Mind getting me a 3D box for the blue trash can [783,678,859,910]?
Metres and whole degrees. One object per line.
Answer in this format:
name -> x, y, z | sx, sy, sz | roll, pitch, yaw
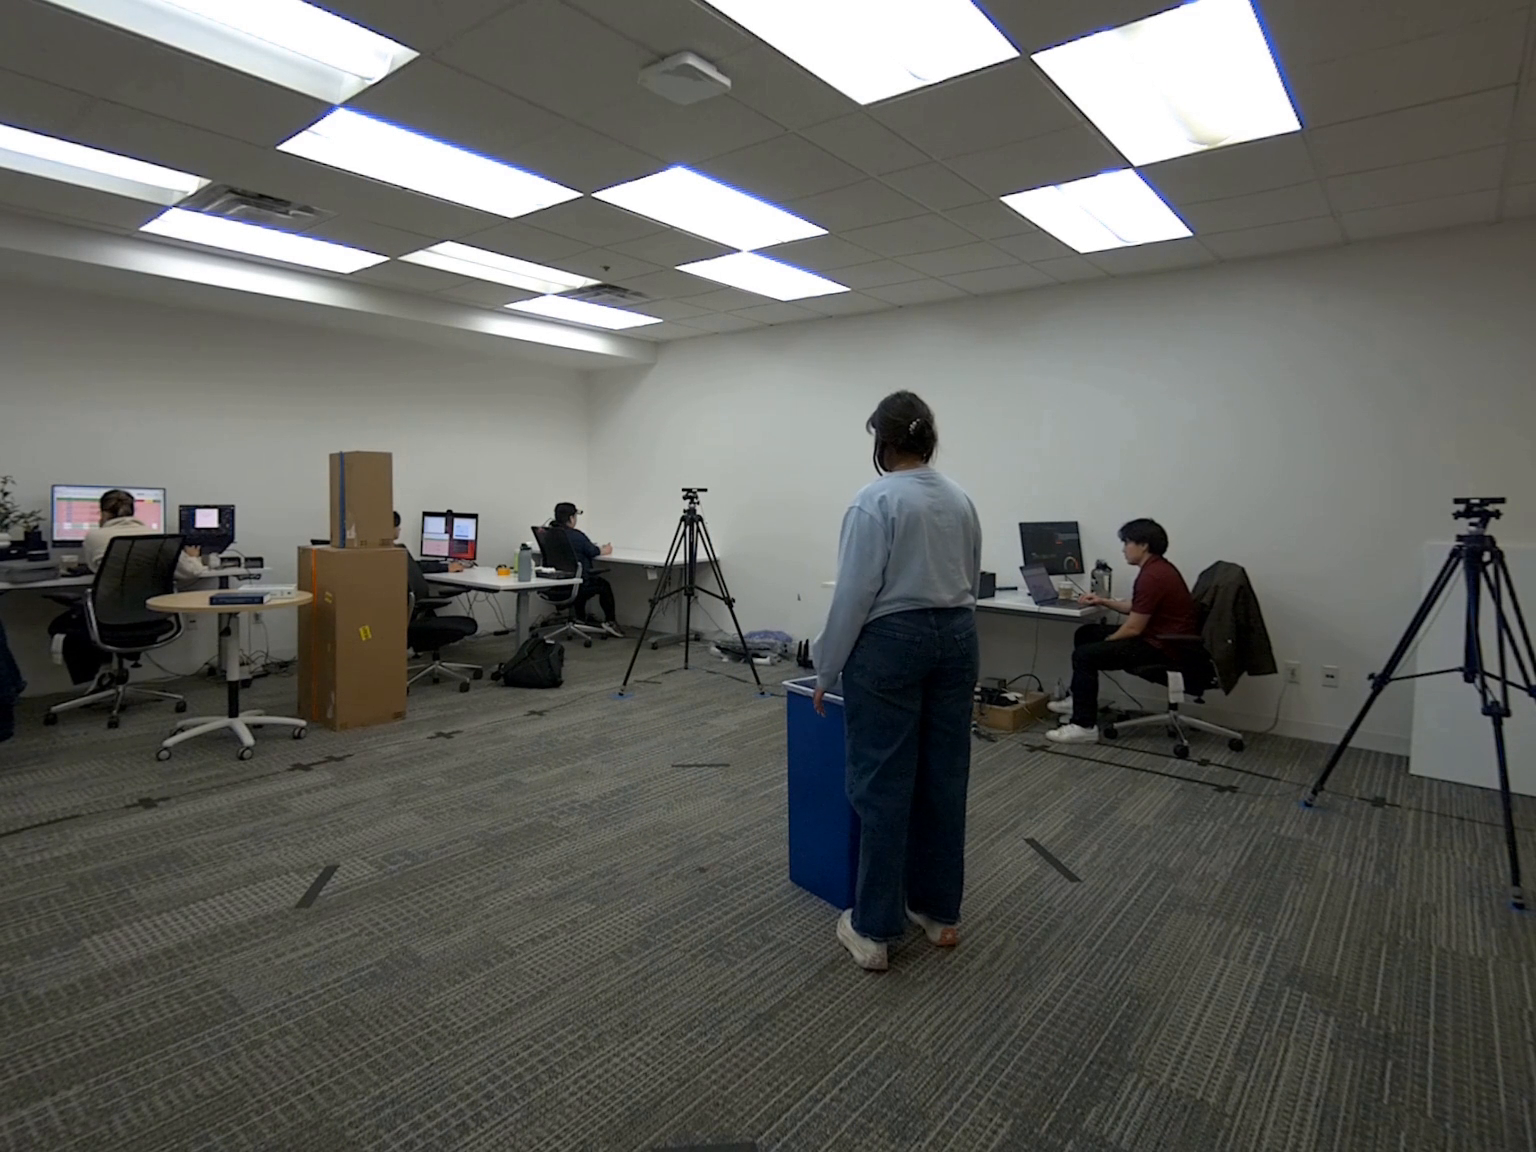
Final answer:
blue trash can -> 0.273, 0.732, 3.002 | 0.367, 0.712, 0.386 | -1, 4, -39
